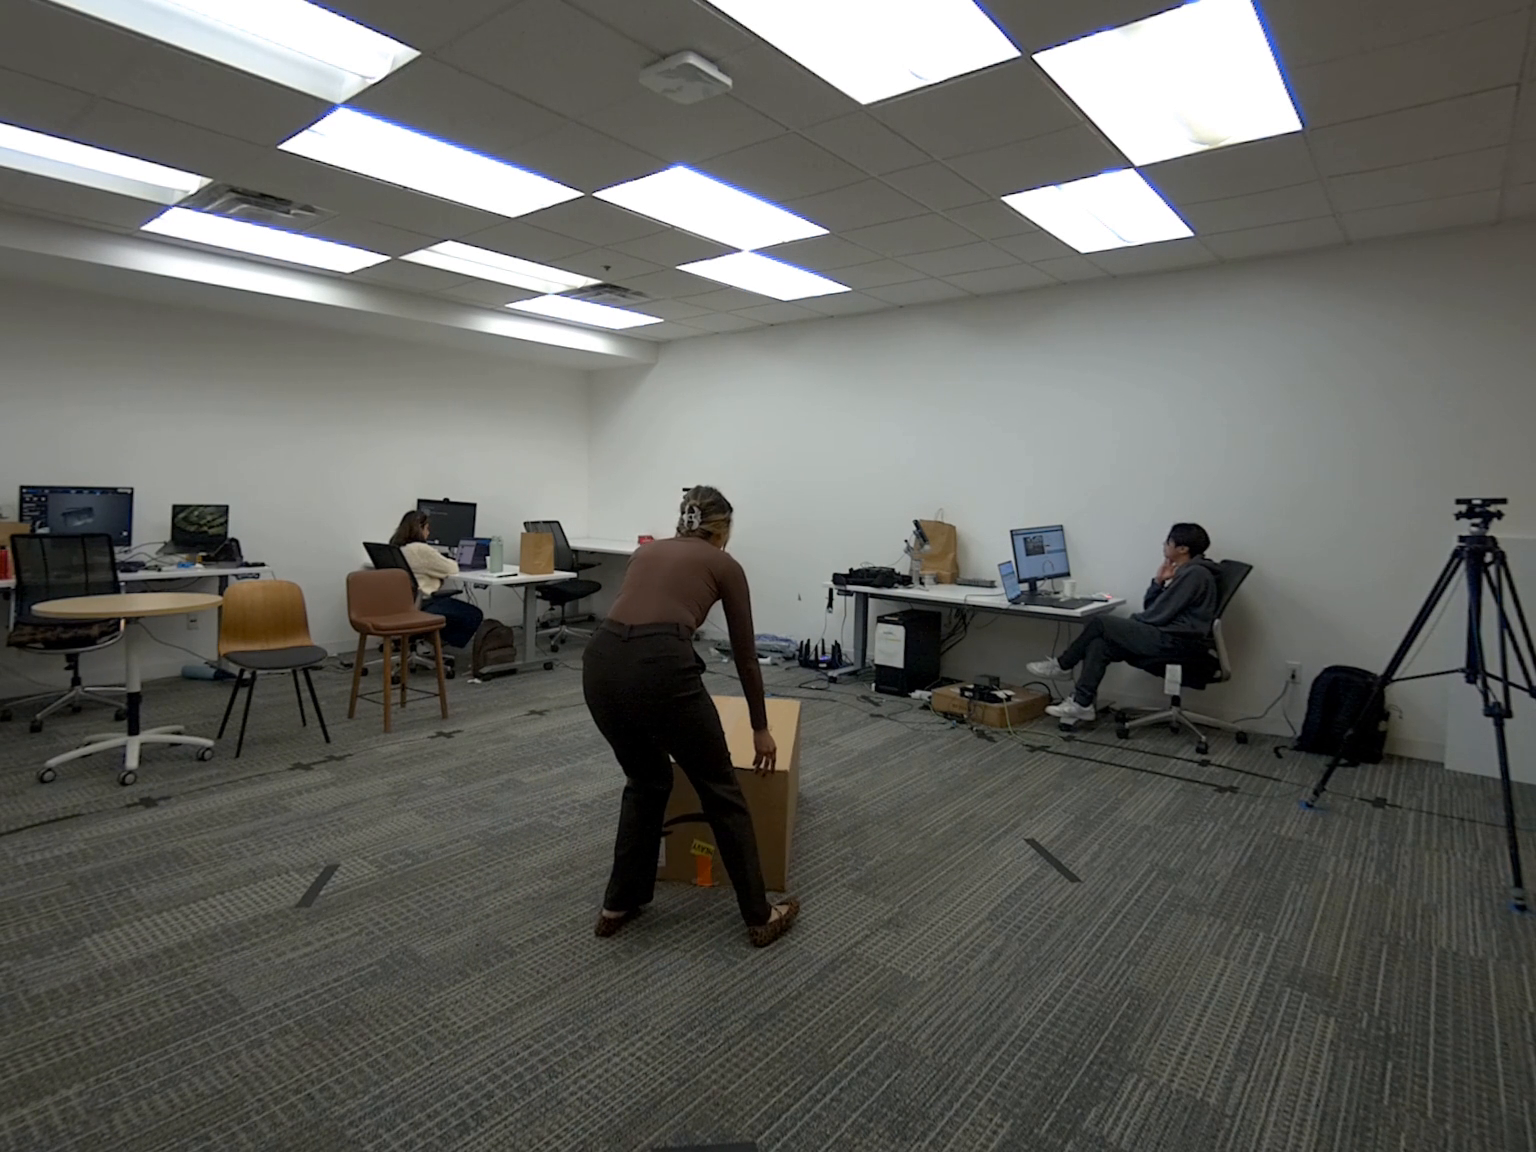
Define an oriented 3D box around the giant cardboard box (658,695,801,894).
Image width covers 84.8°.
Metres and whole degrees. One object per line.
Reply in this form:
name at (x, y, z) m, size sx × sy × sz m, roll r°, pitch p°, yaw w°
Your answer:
giant cardboard box at (-0.185, 0.819, 3.471) m, size 0.588 × 0.445 × 1.024 m, roll 3°, pitch 6°, yaw 5°
